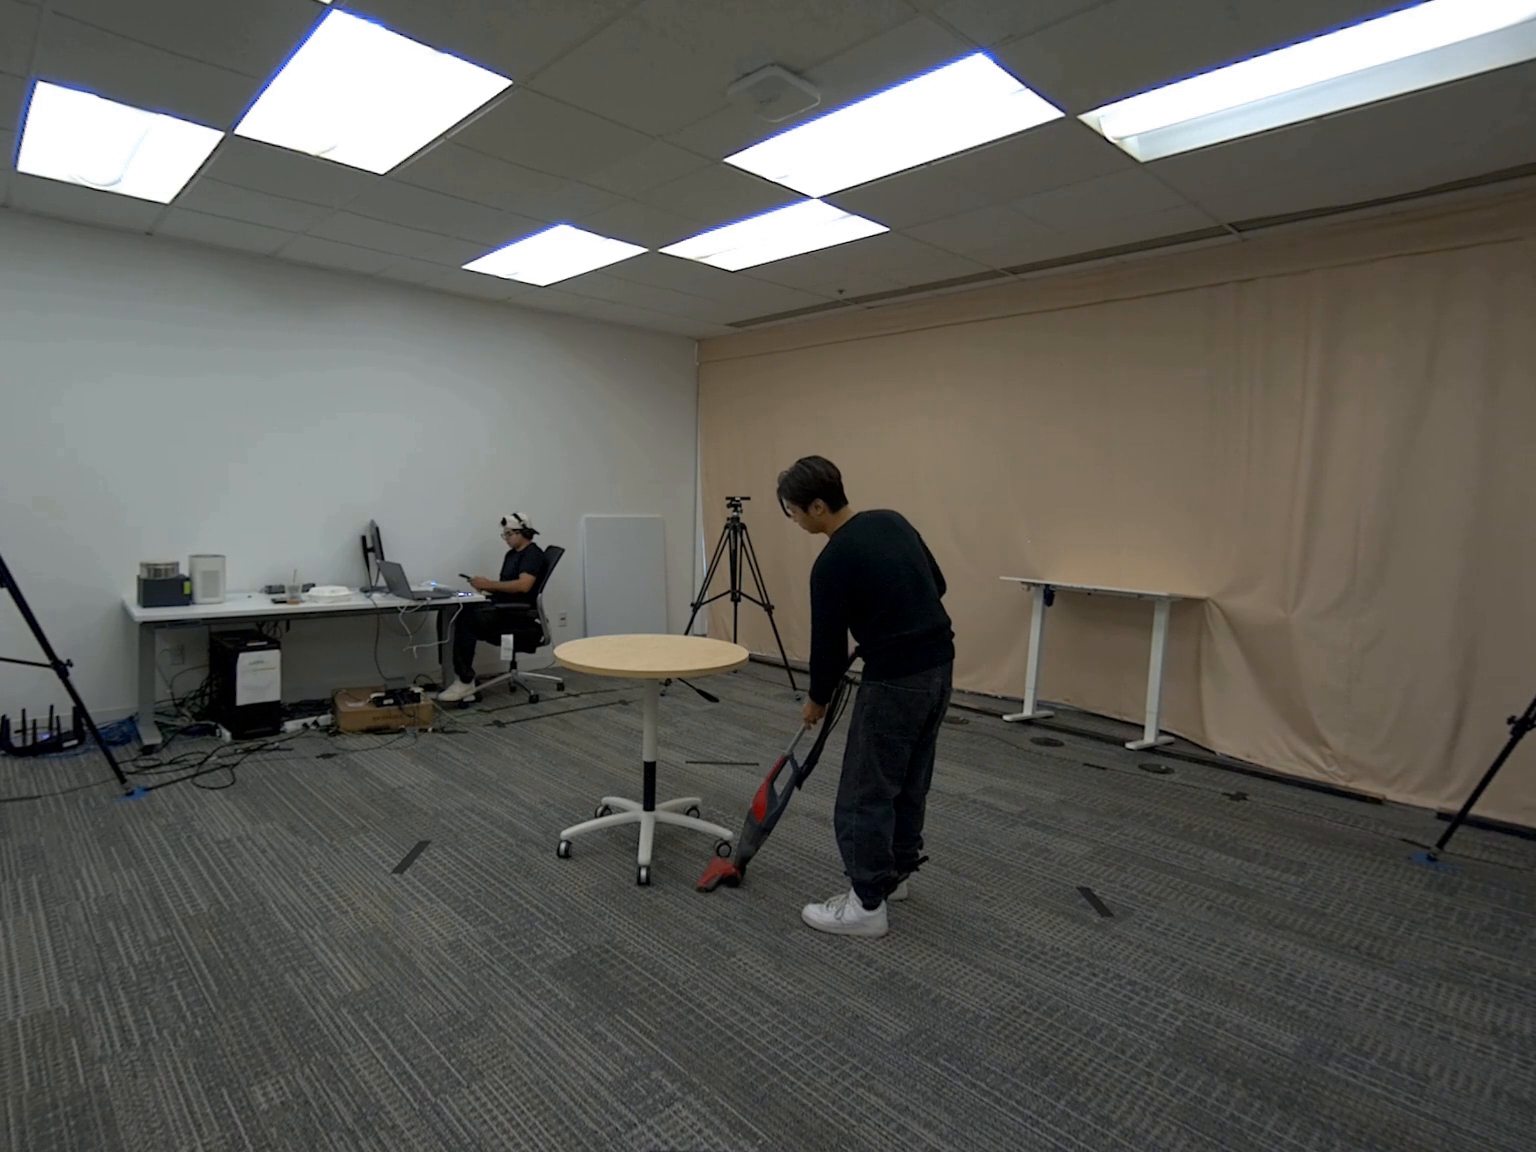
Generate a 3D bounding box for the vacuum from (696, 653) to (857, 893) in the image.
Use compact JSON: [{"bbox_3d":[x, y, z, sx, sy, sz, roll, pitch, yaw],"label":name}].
[{"bbox_3d":[0.096,0.653,2.991,0.145,1.047,0.251,33,10,8],"label":"vacuum"}]
